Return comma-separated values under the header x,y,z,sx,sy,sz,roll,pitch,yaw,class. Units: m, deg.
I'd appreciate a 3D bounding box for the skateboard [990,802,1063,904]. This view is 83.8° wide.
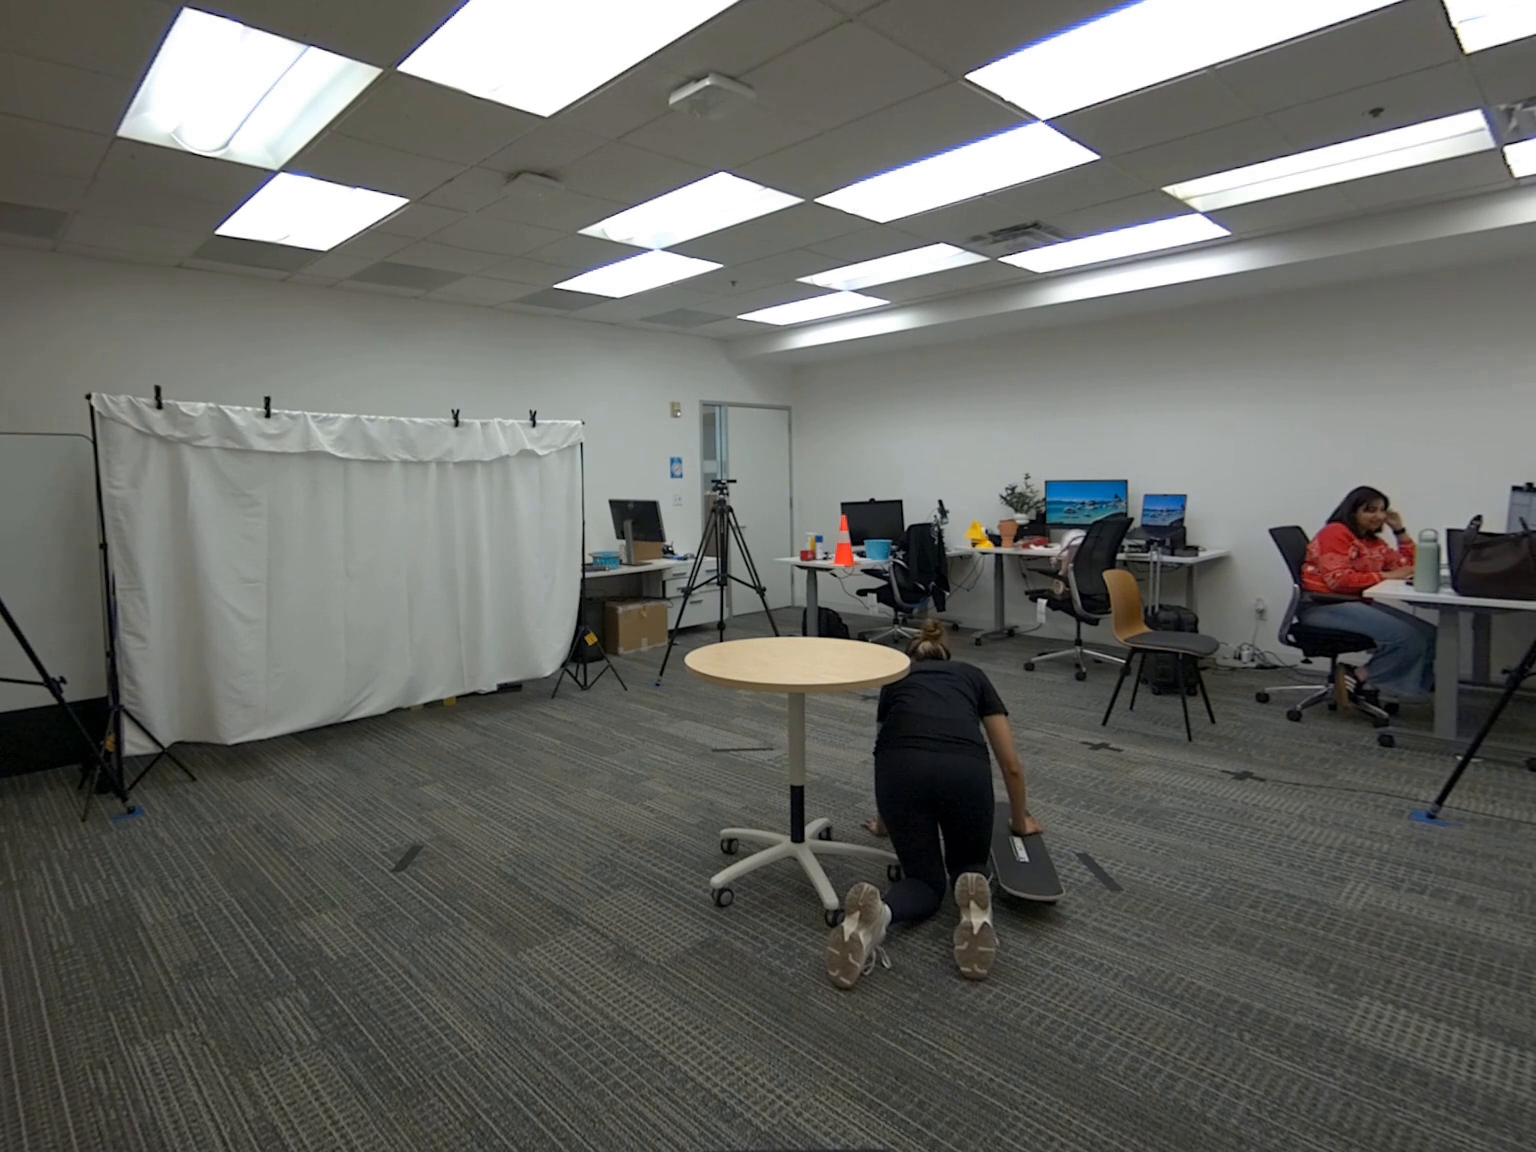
x,y,z,sx,sy,sz,roll,pitch,yaw,class
0.880,0.984,3.002,0.196,0.110,0.780,2,7,10,skateboard
